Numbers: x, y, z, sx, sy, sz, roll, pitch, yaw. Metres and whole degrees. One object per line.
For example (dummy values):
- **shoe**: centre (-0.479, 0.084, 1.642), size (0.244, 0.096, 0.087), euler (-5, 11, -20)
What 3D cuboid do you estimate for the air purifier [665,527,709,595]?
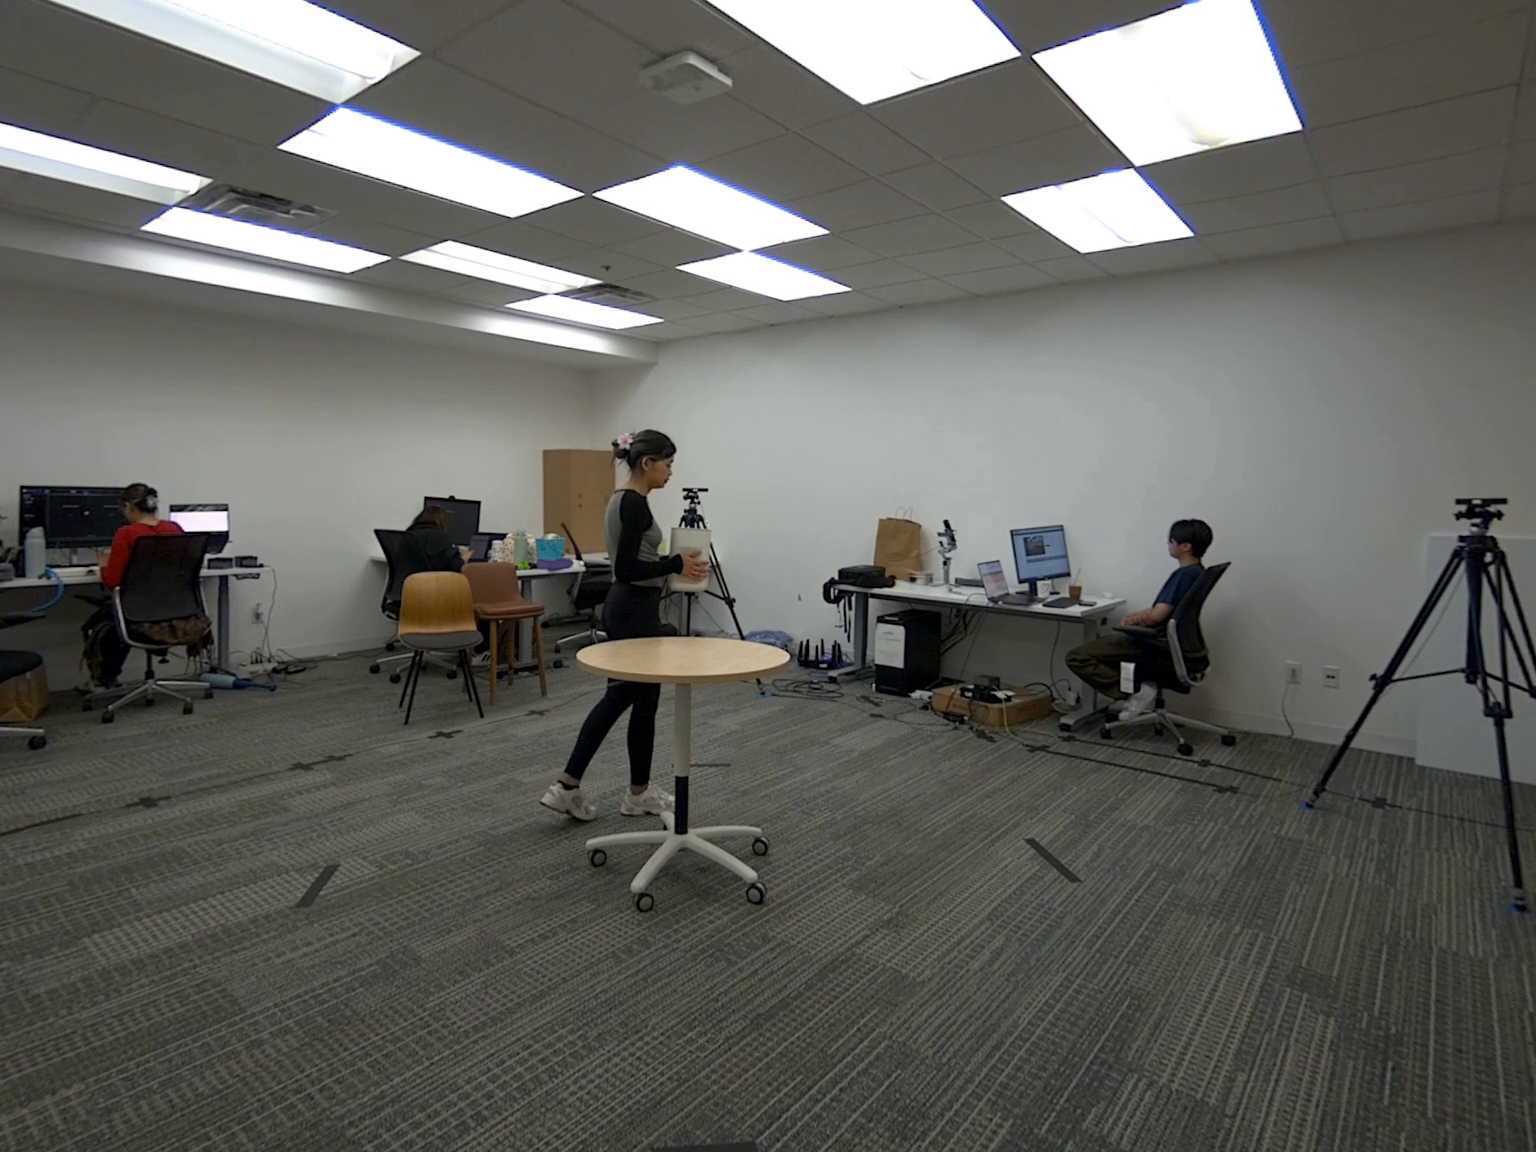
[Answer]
- **air purifier**: centre (-0.350, -0.069, 3.605), size (0.171, 0.265, 0.172), euler (3, 3, -2)
